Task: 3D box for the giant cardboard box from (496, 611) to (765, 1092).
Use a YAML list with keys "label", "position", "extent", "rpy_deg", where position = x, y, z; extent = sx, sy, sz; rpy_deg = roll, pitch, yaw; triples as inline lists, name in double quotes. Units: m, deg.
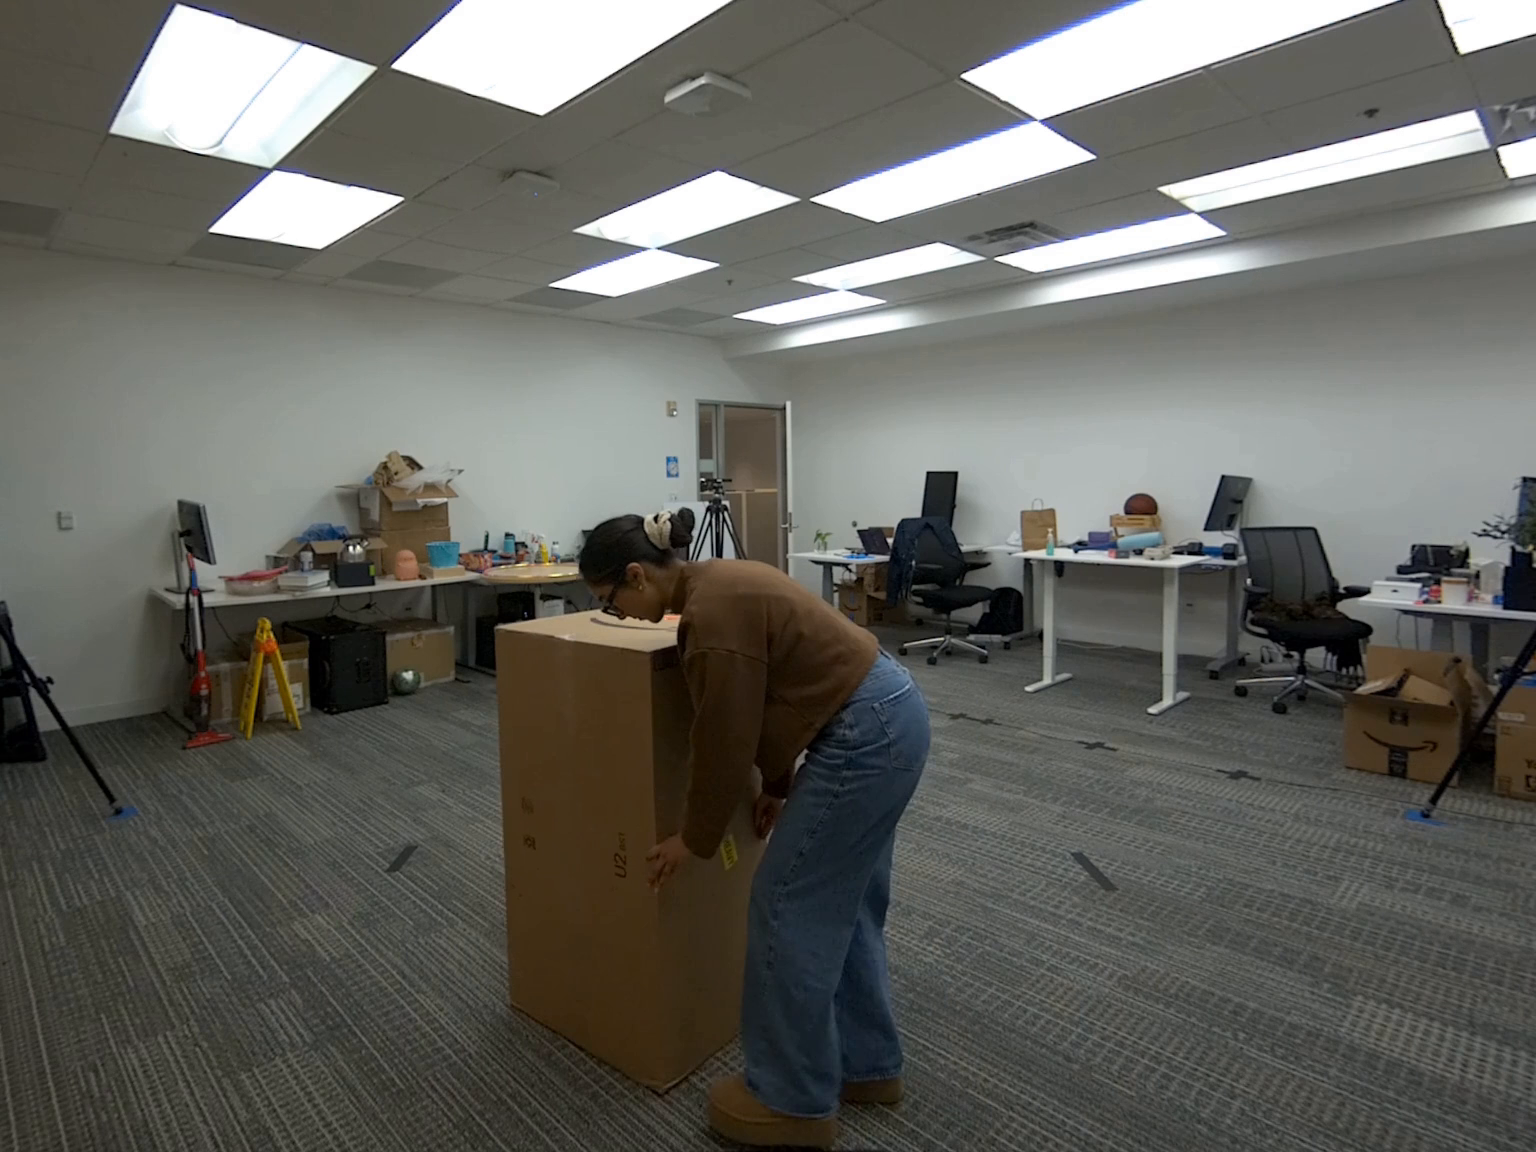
- label: "giant cardboard box"
  position: [-0.350, 0.642, 2.258]
  extent: [0.594, 1.023, 0.415]
  rpy_deg: [1, 4, 38]
